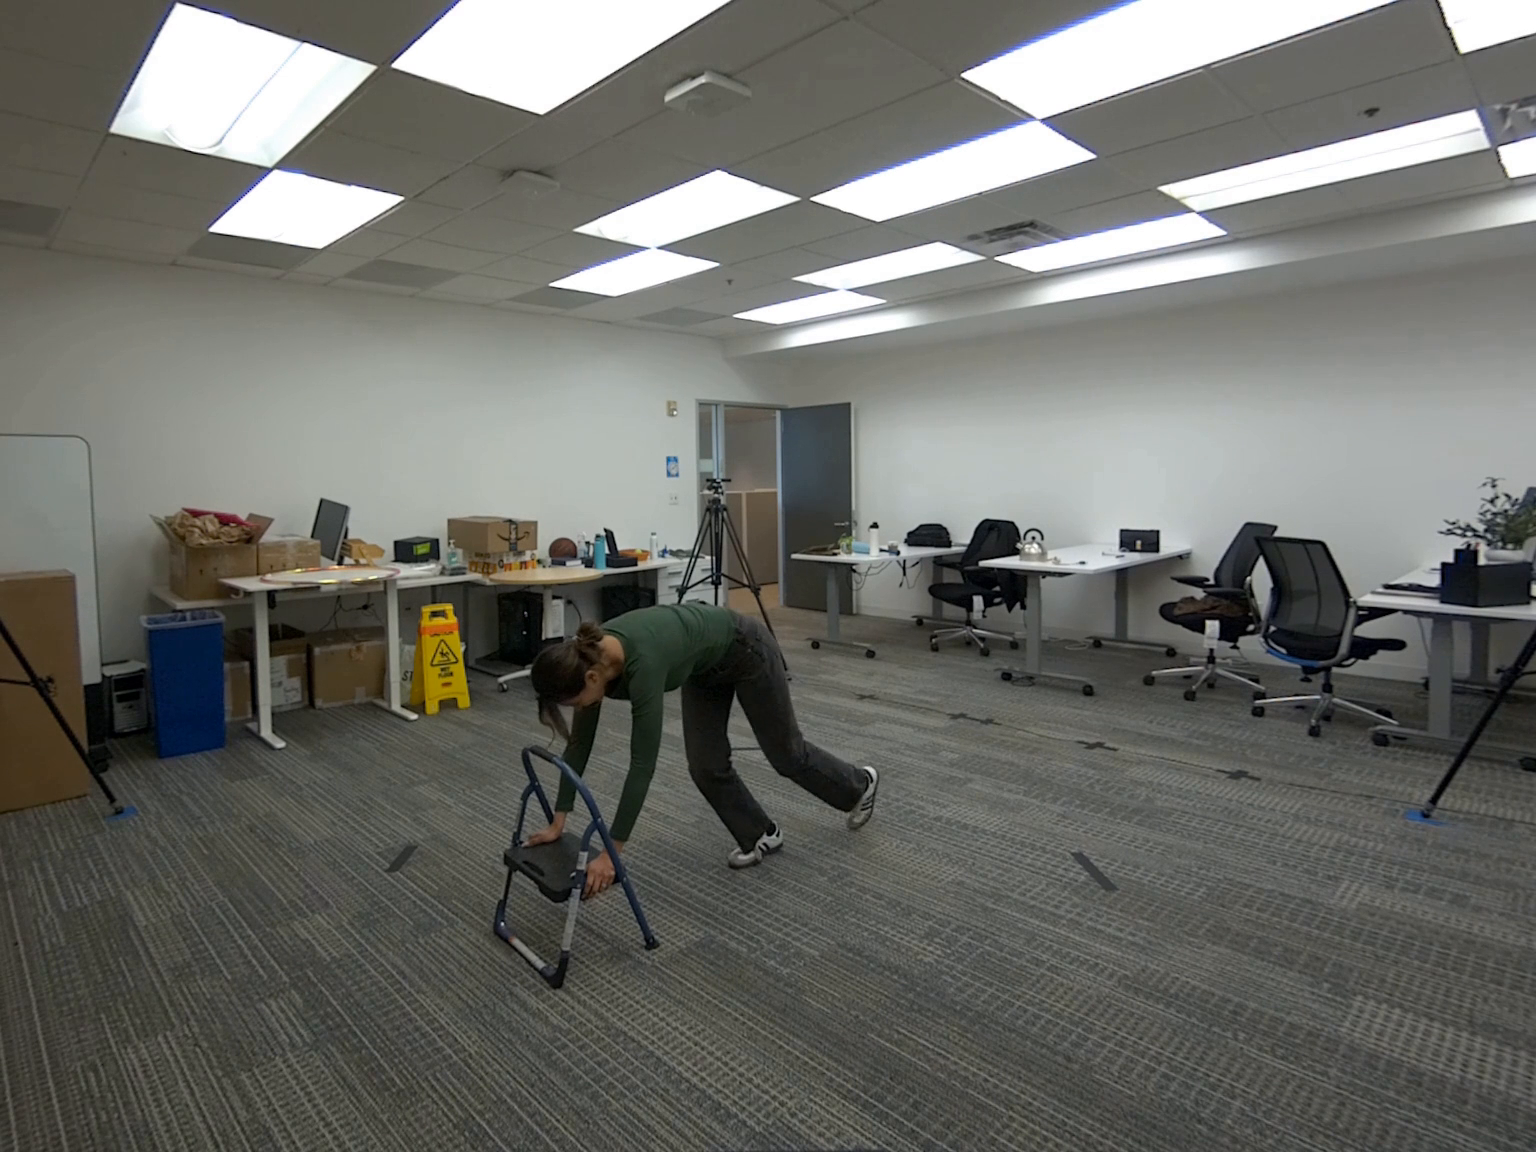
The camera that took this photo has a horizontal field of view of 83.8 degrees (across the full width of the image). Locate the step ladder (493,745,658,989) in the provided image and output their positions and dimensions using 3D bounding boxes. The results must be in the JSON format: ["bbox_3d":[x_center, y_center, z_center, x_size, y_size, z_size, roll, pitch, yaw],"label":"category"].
[{"bbox_3d":[-0.599,0.814,2.602,0.340,0.604,0.444,-5,6,-41],"label":"step ladder"}]
